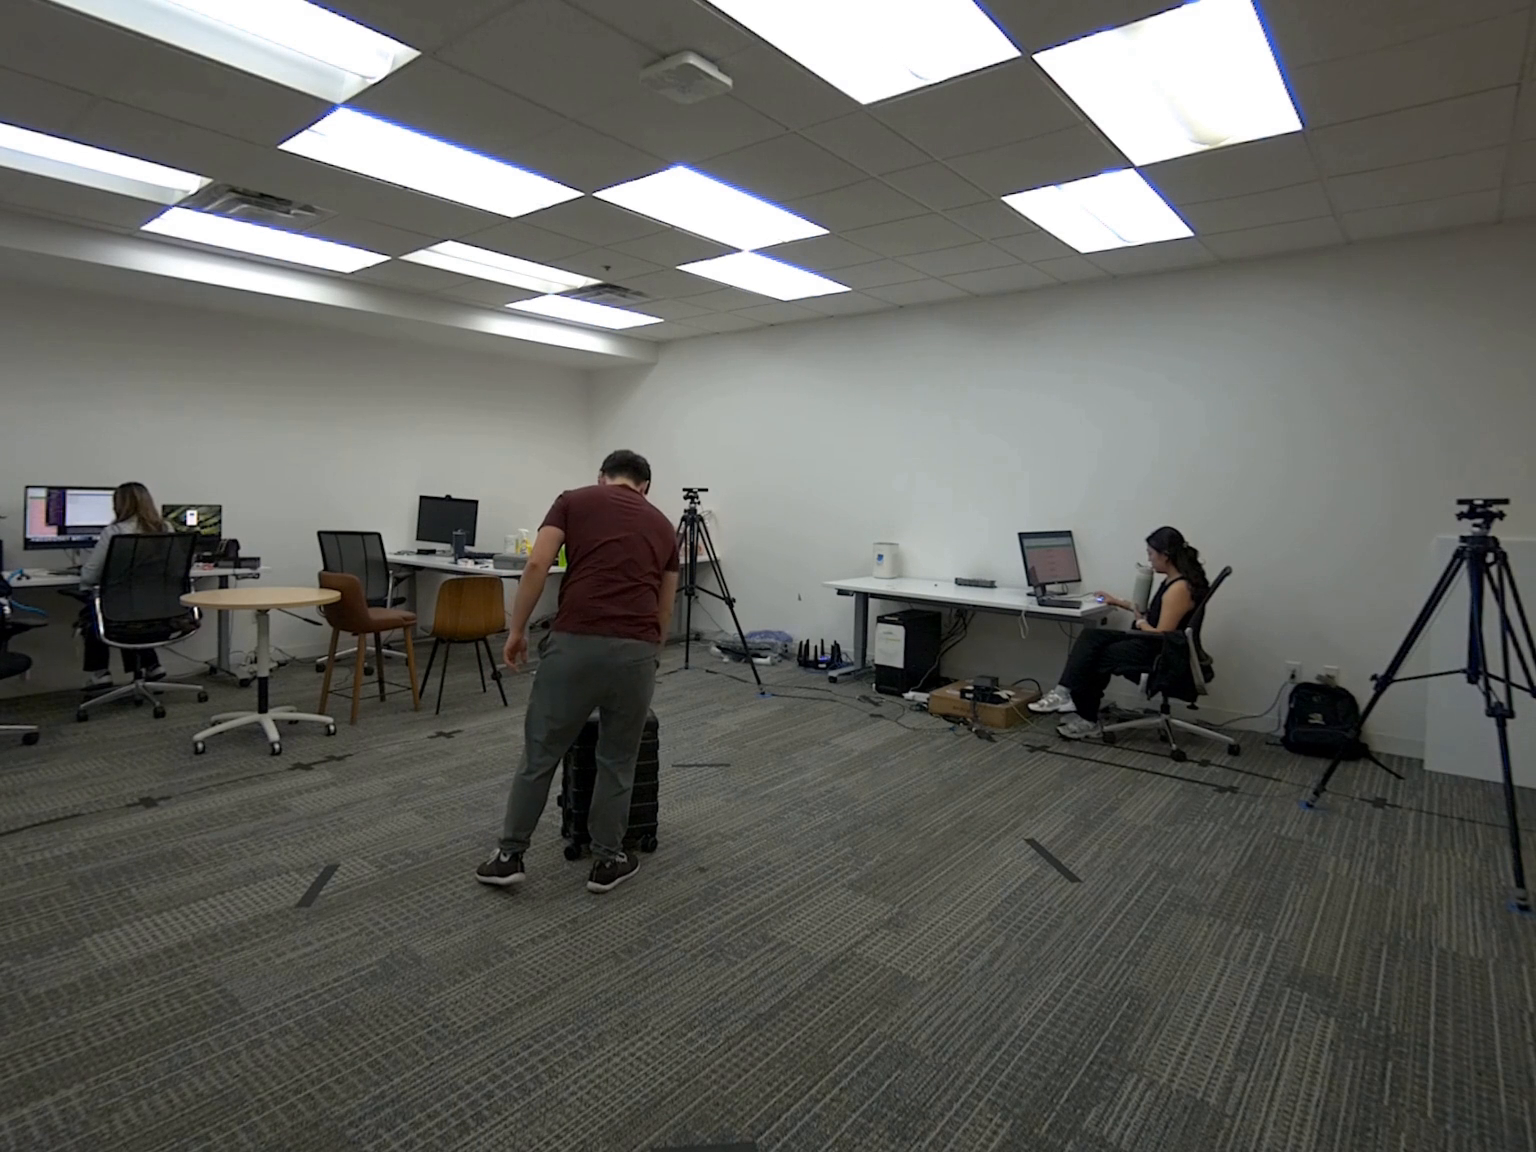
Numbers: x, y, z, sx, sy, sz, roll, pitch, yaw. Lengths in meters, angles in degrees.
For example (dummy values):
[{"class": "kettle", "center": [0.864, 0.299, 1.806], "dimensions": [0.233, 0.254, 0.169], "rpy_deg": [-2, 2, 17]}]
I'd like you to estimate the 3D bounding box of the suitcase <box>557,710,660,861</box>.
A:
[{"class": "suitcase", "center": [-0.617, 0.568, 3.315], "dimensions": [0.377, 0.978, 0.262], "rpy_deg": [1, 1, -19]}]
